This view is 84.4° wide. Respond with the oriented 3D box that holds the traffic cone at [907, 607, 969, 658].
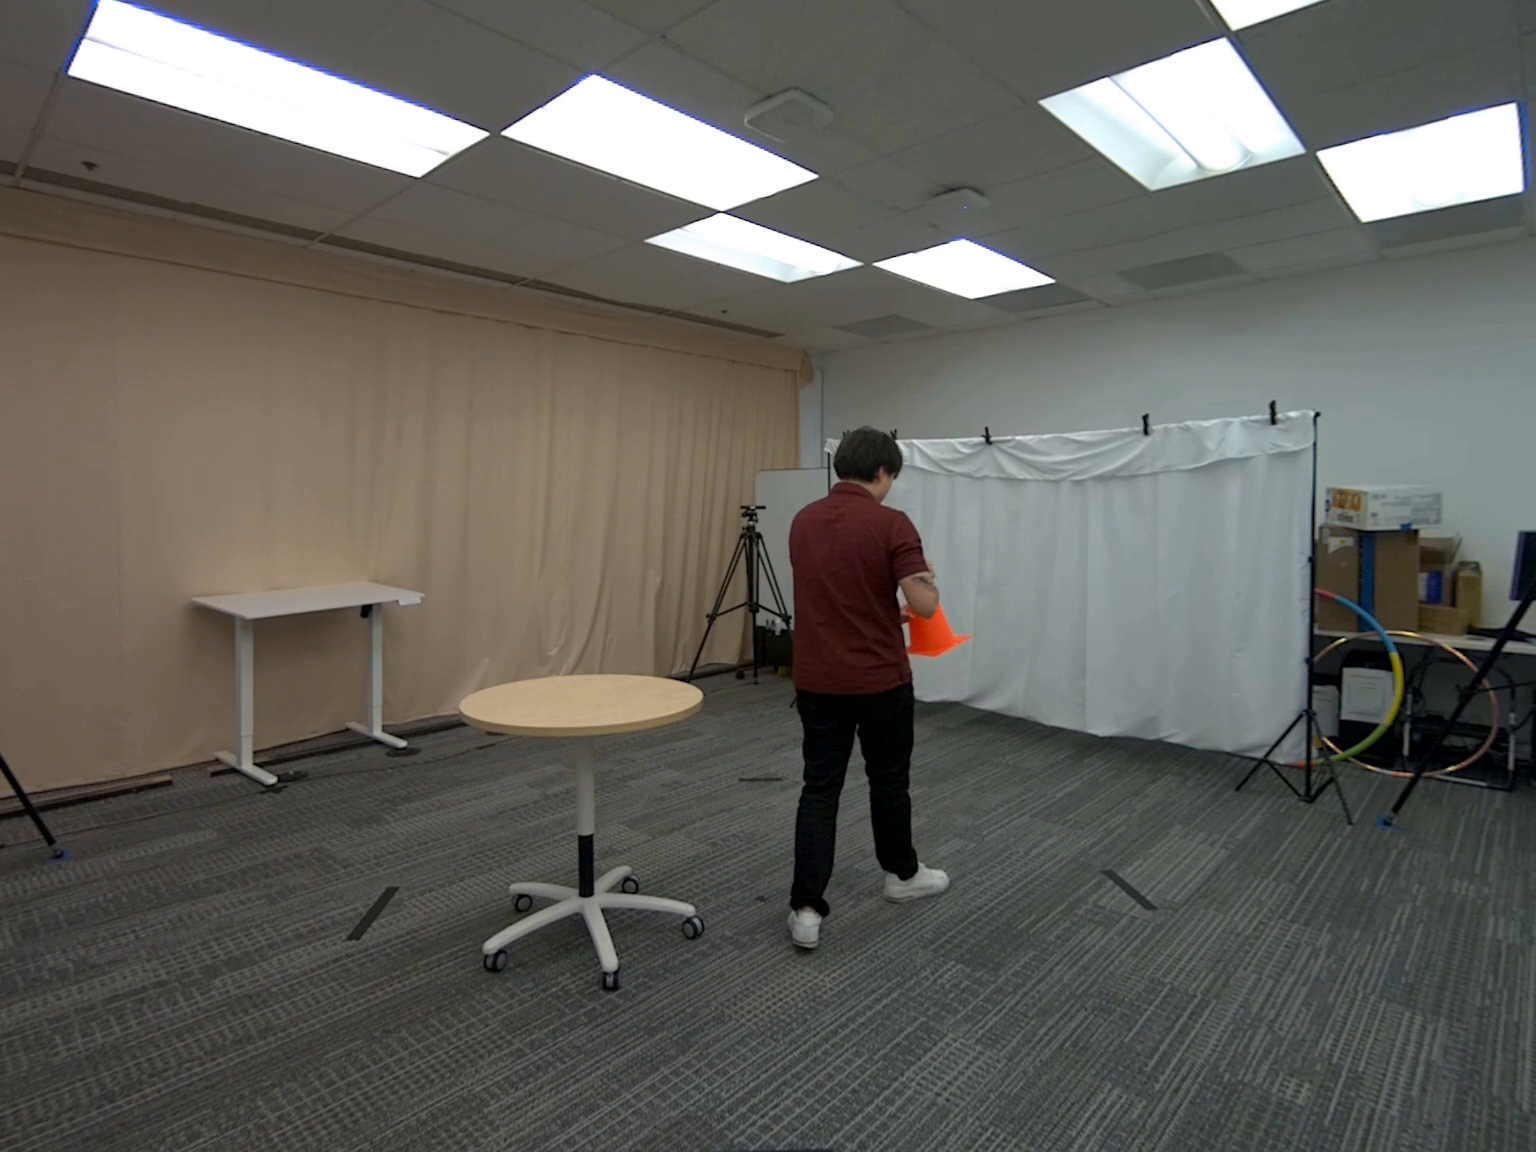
[{"bbox_3d":[0.537,0.065,2.955,0.206,0.383,0.202,-17,1,5],"label":"traffic cone"}]
